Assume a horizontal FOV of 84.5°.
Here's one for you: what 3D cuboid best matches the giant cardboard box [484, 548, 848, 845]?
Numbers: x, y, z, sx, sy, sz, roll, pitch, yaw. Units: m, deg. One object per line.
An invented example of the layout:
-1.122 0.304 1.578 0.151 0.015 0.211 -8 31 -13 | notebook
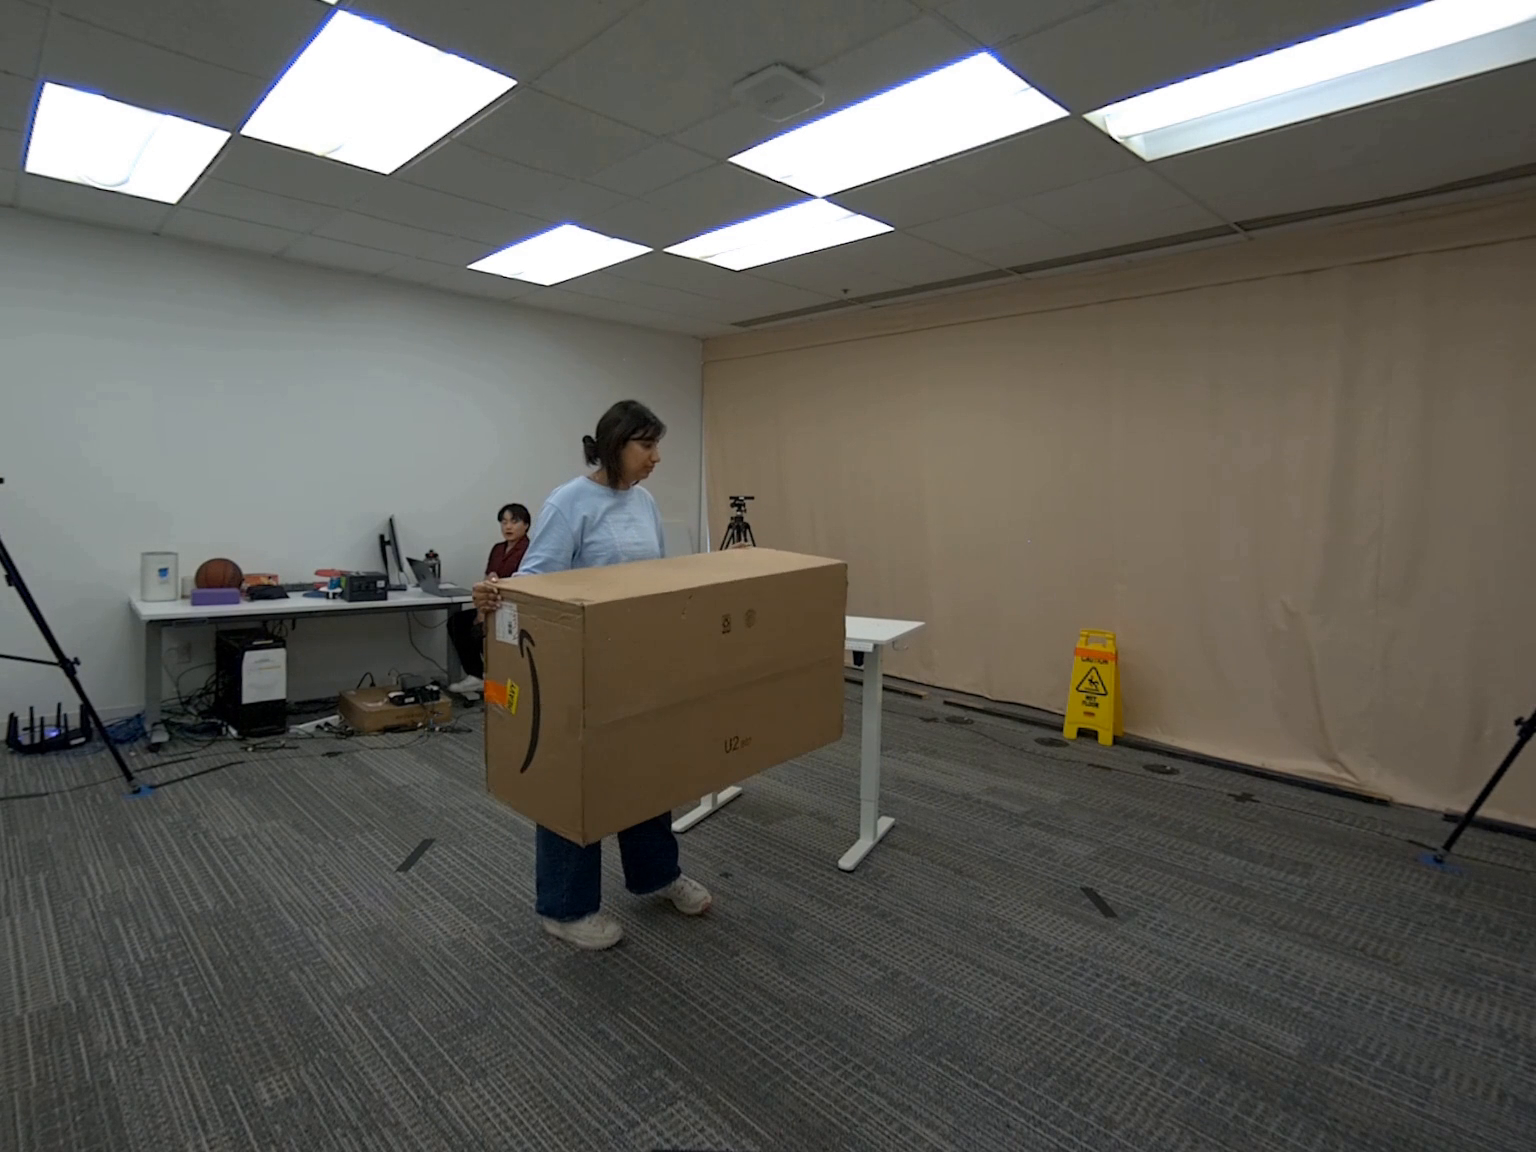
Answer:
-0.246 0.268 2.418 0.437 0.574 1.005 7 11 41 | giant cardboard box
